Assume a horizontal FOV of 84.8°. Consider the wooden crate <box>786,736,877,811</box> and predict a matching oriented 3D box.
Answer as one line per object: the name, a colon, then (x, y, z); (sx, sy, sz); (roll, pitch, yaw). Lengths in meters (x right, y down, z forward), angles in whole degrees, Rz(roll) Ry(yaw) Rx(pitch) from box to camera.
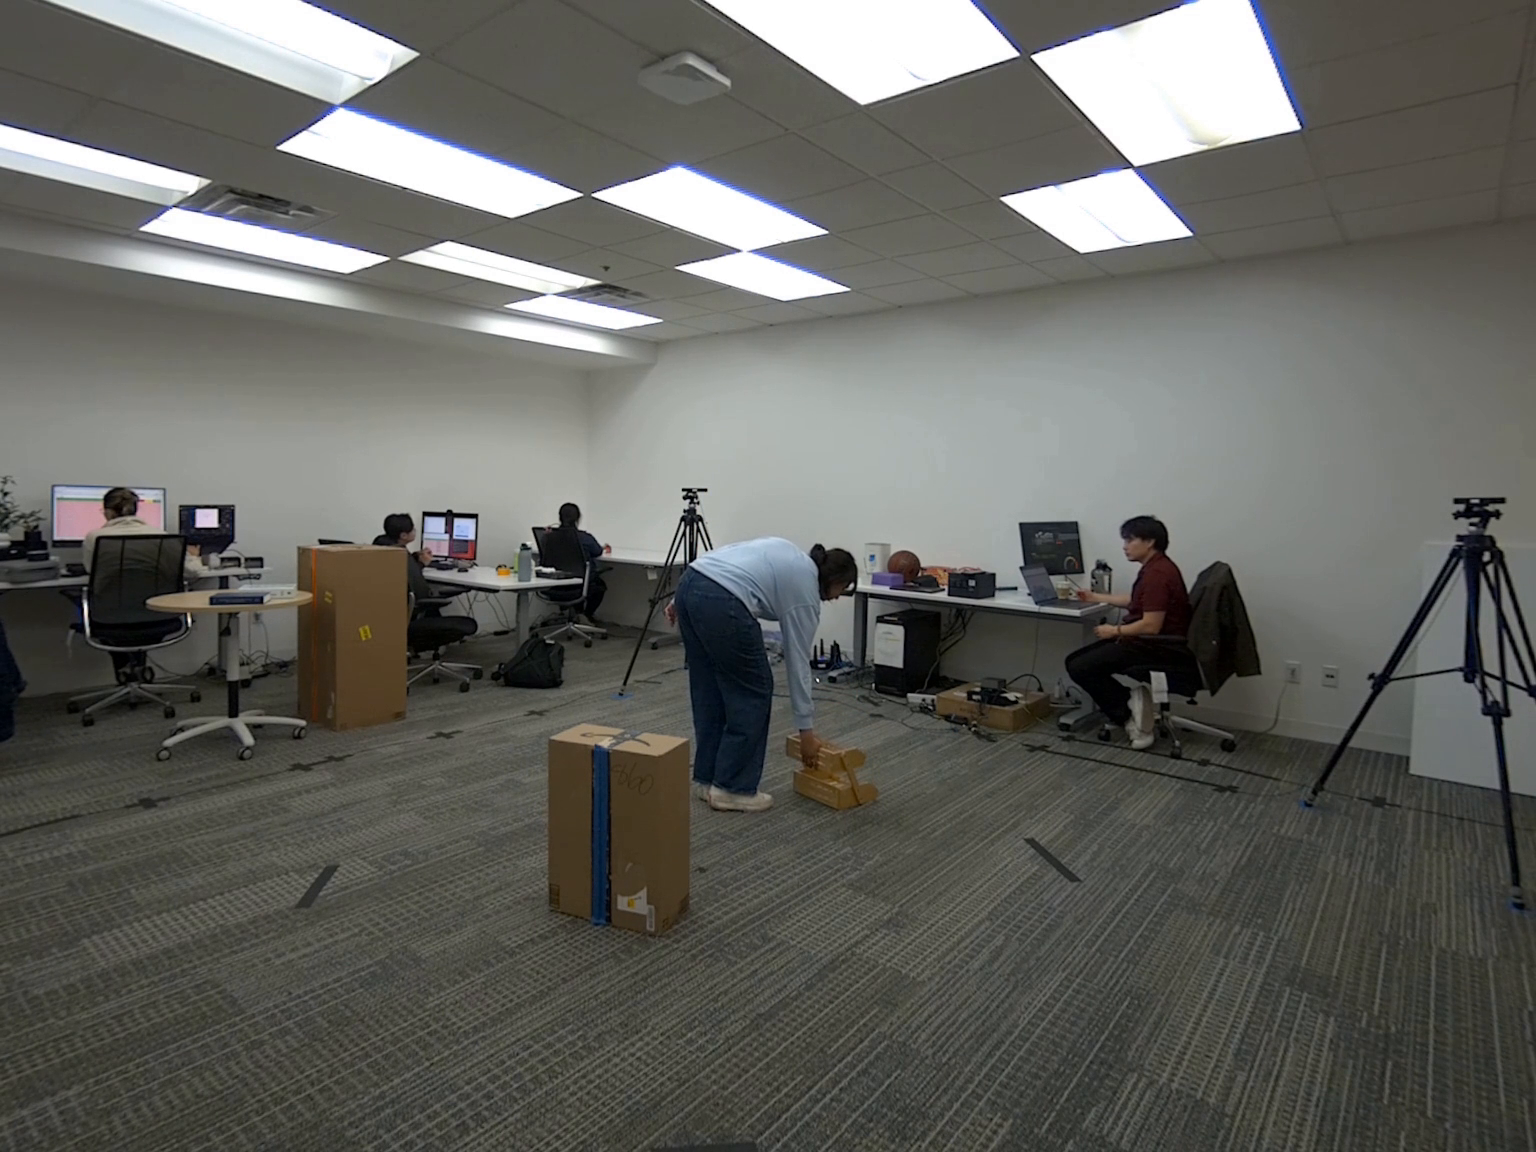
wooden crate: (0.285, 0.873, 3.886); (0.293, 0.272, 0.335); (-3, 6, -40)
